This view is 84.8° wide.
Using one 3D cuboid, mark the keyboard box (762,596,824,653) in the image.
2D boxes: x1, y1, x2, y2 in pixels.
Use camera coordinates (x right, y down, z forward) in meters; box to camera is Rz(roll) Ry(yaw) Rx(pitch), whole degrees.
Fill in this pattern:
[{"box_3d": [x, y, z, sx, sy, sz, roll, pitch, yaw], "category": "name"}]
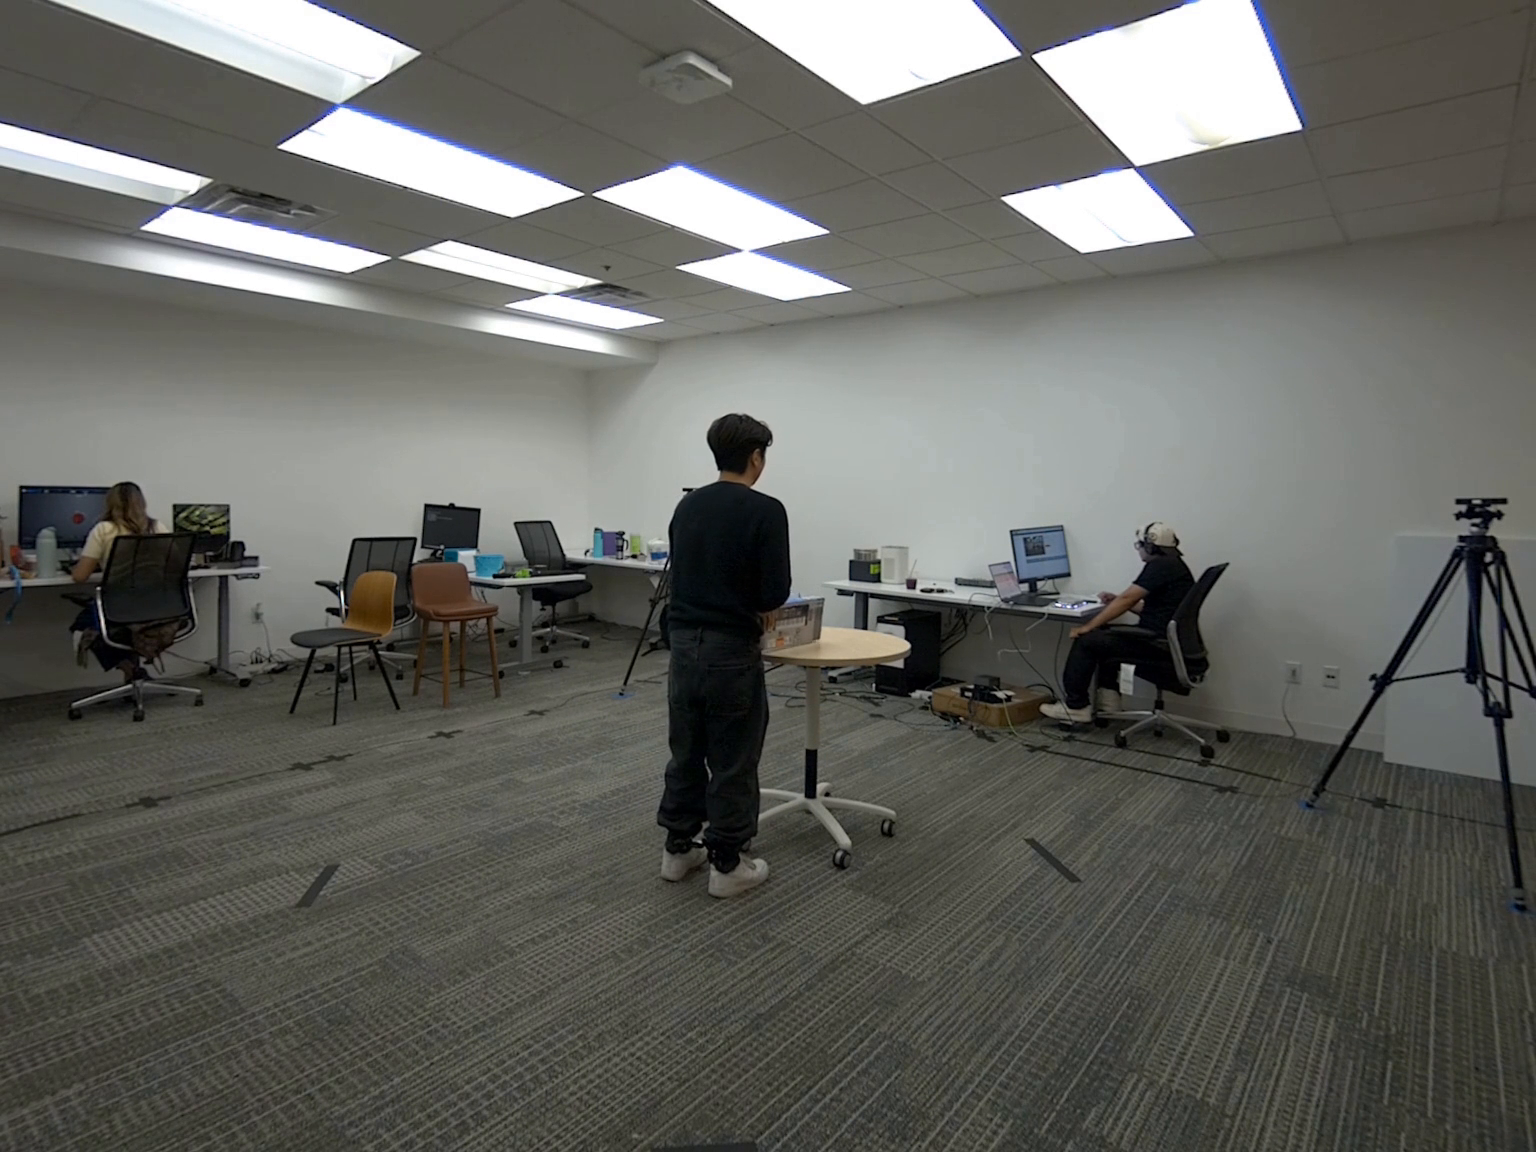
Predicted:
[{"box_3d": [0.057, 0.178, 3.282, 0.061, 0.175, 0.424, 8, 9, 38], "category": "keyboard box"}]
